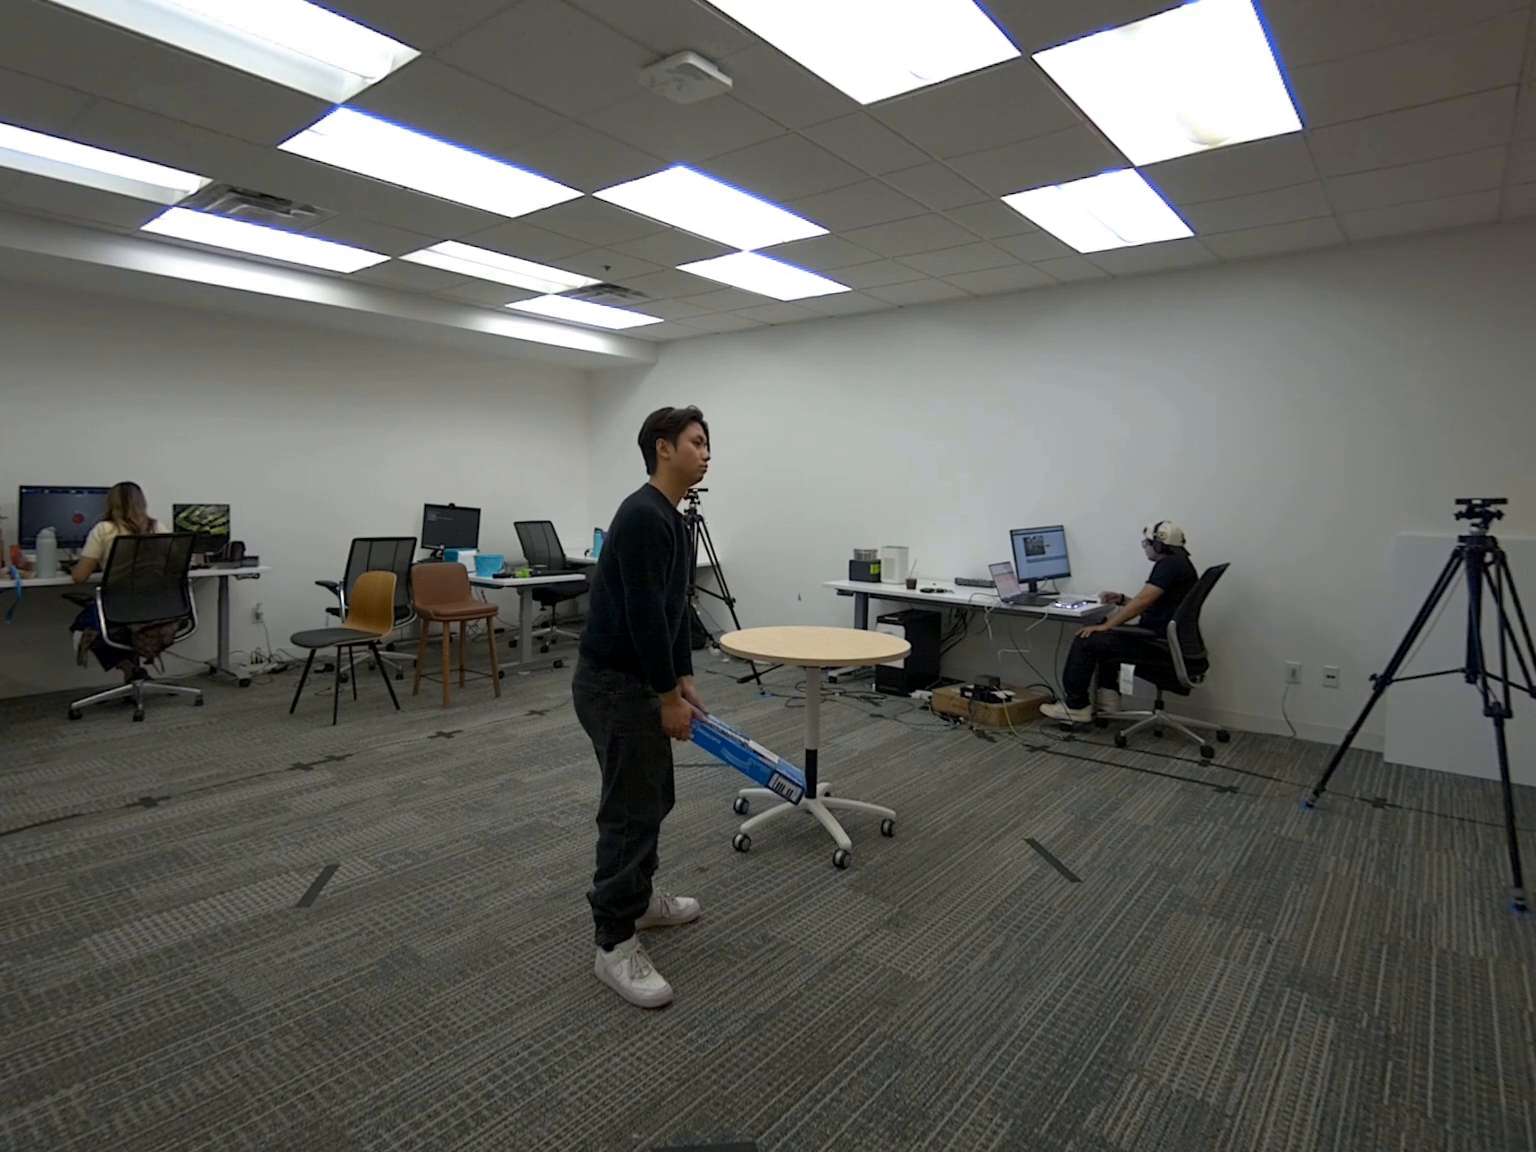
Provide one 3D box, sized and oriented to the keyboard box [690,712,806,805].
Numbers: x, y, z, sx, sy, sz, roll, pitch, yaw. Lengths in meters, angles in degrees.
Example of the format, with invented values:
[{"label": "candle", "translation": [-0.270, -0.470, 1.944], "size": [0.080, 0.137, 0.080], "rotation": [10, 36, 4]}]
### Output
[{"label": "keyboard box", "translation": [-0.095, 0.514, 2.532], "size": [0.438, 0.059, 0.176], "rotation": [30, 3, 1]}]
